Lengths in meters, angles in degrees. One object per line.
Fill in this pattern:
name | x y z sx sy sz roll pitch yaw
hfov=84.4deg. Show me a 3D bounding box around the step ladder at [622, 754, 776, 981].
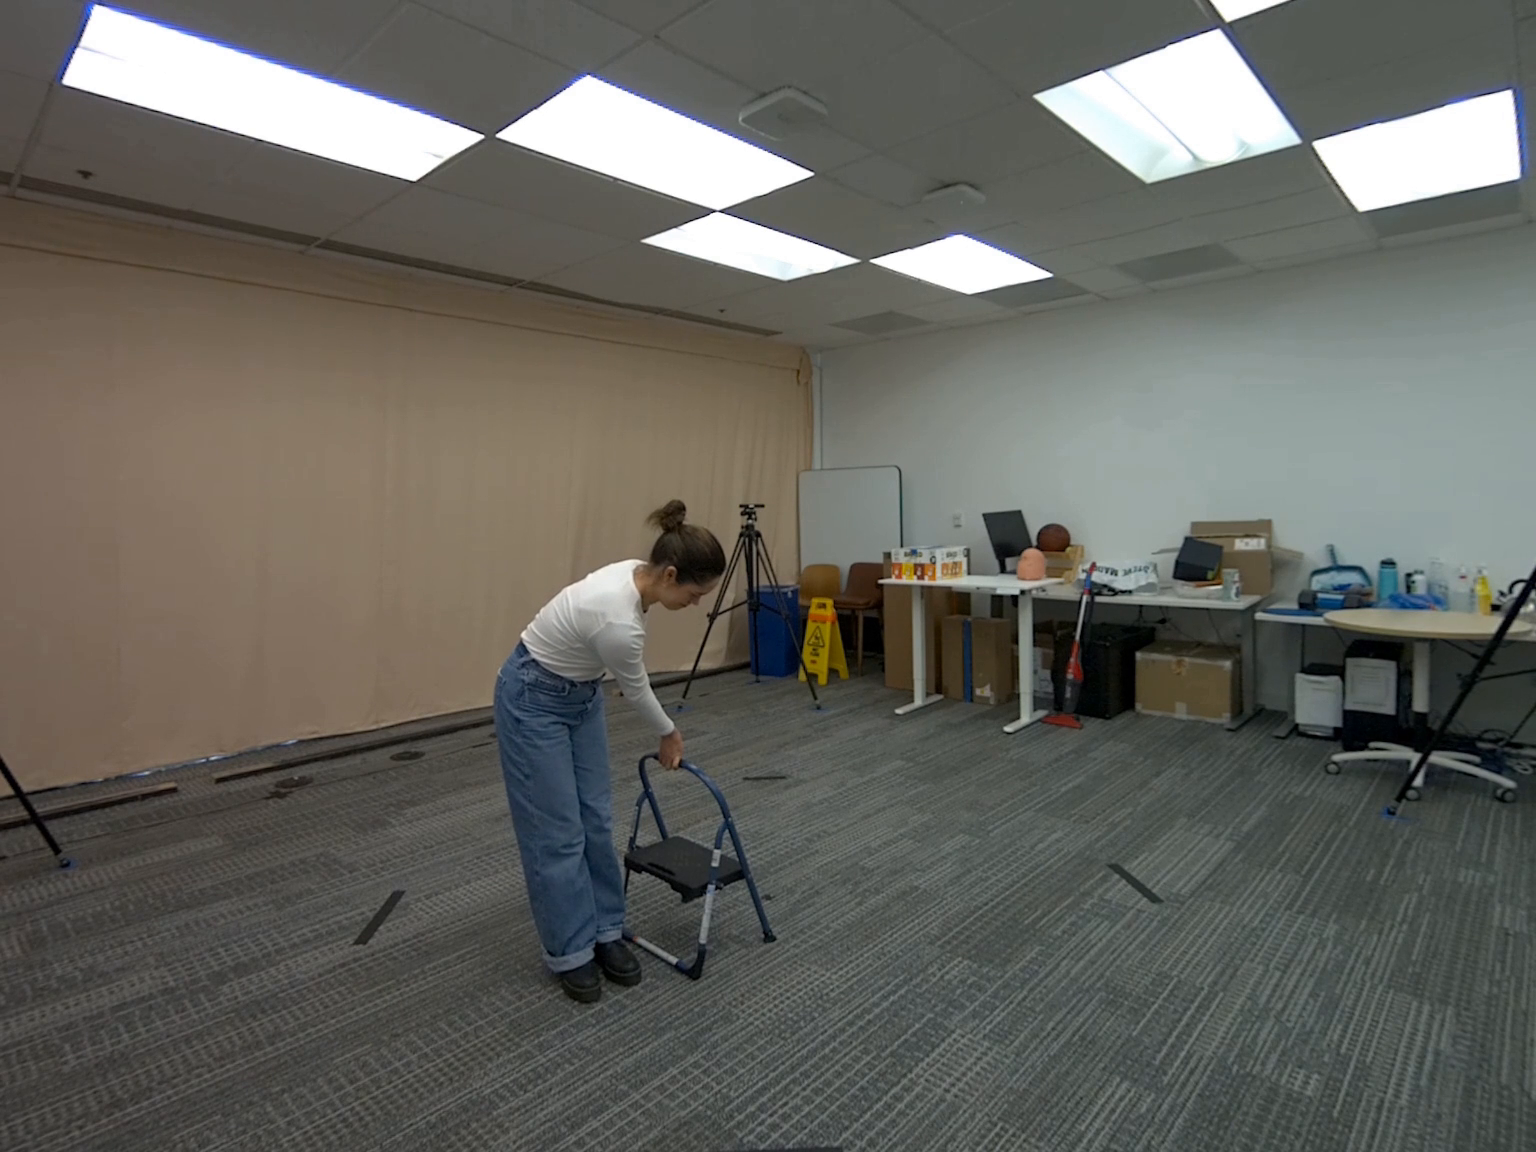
step ladder | -0.249 0.866 2.712 0.445 0.605 0.338 2 4 44
